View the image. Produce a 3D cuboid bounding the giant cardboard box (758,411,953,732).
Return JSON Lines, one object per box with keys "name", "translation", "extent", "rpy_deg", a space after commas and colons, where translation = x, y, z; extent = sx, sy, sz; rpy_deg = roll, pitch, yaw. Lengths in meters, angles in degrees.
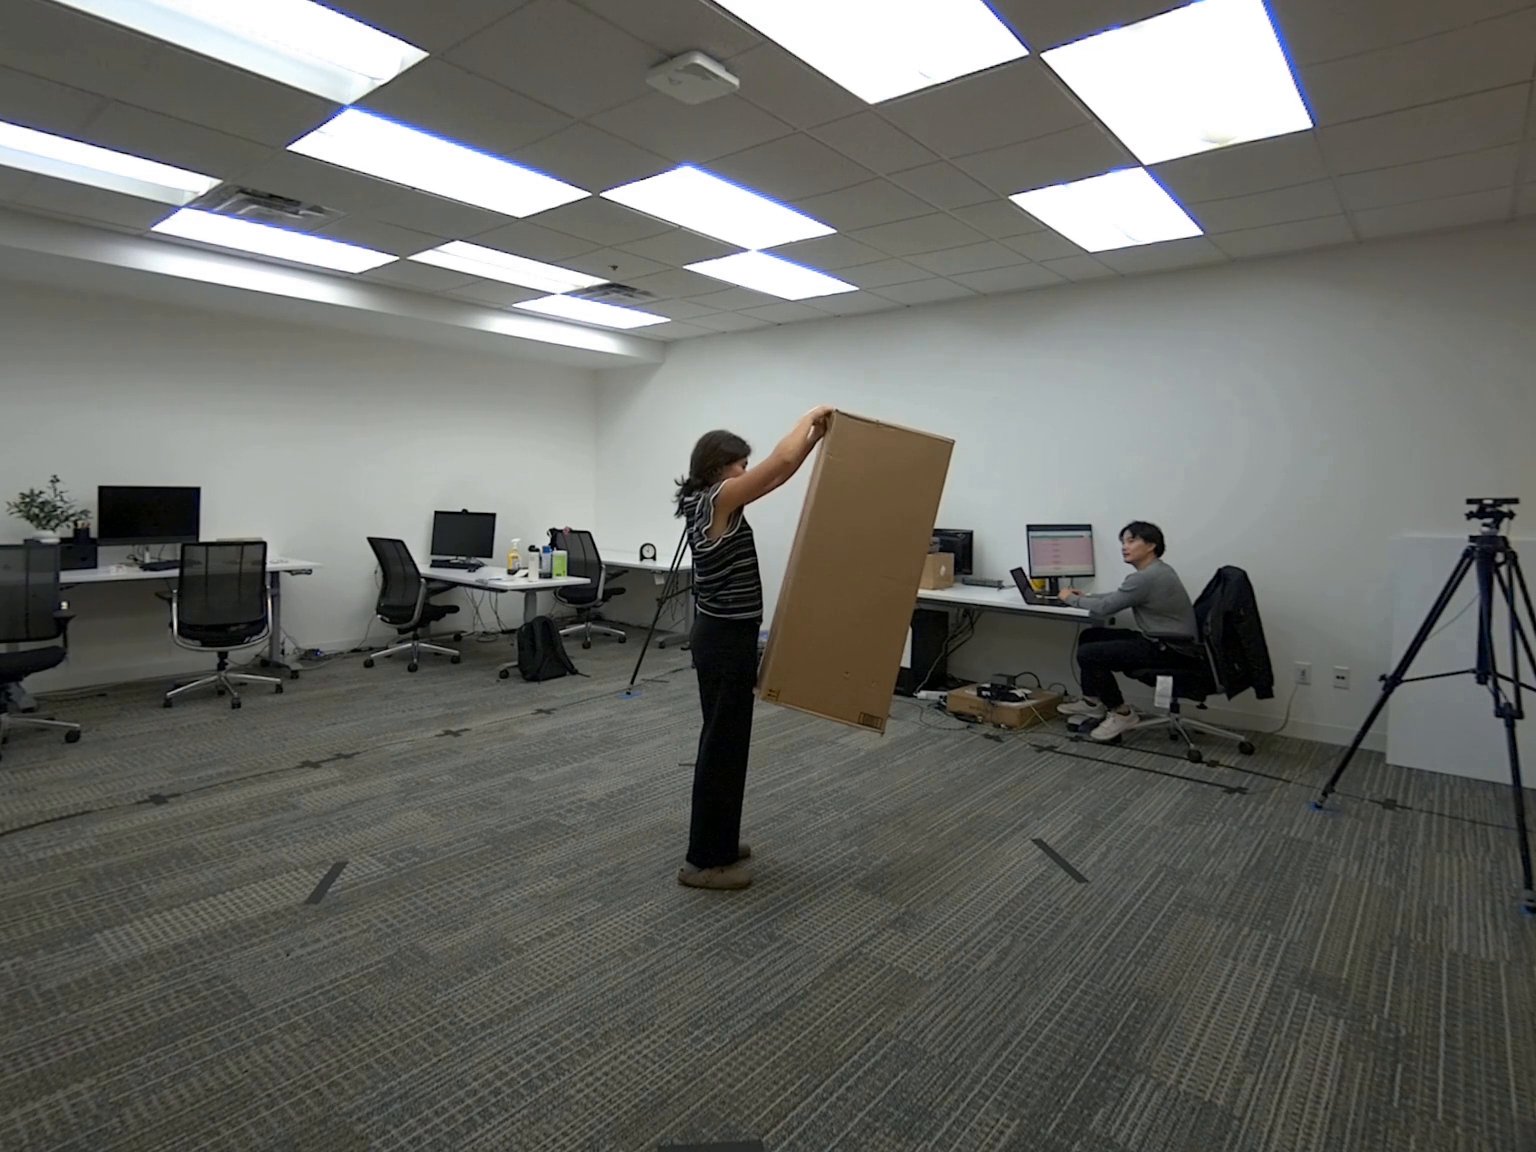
{"name": "giant cardboard box", "translation": [0.292, -0.008, 3.147], "extent": [0.426, 1.030, 0.576], "rpy_deg": [14, -6, -2]}
